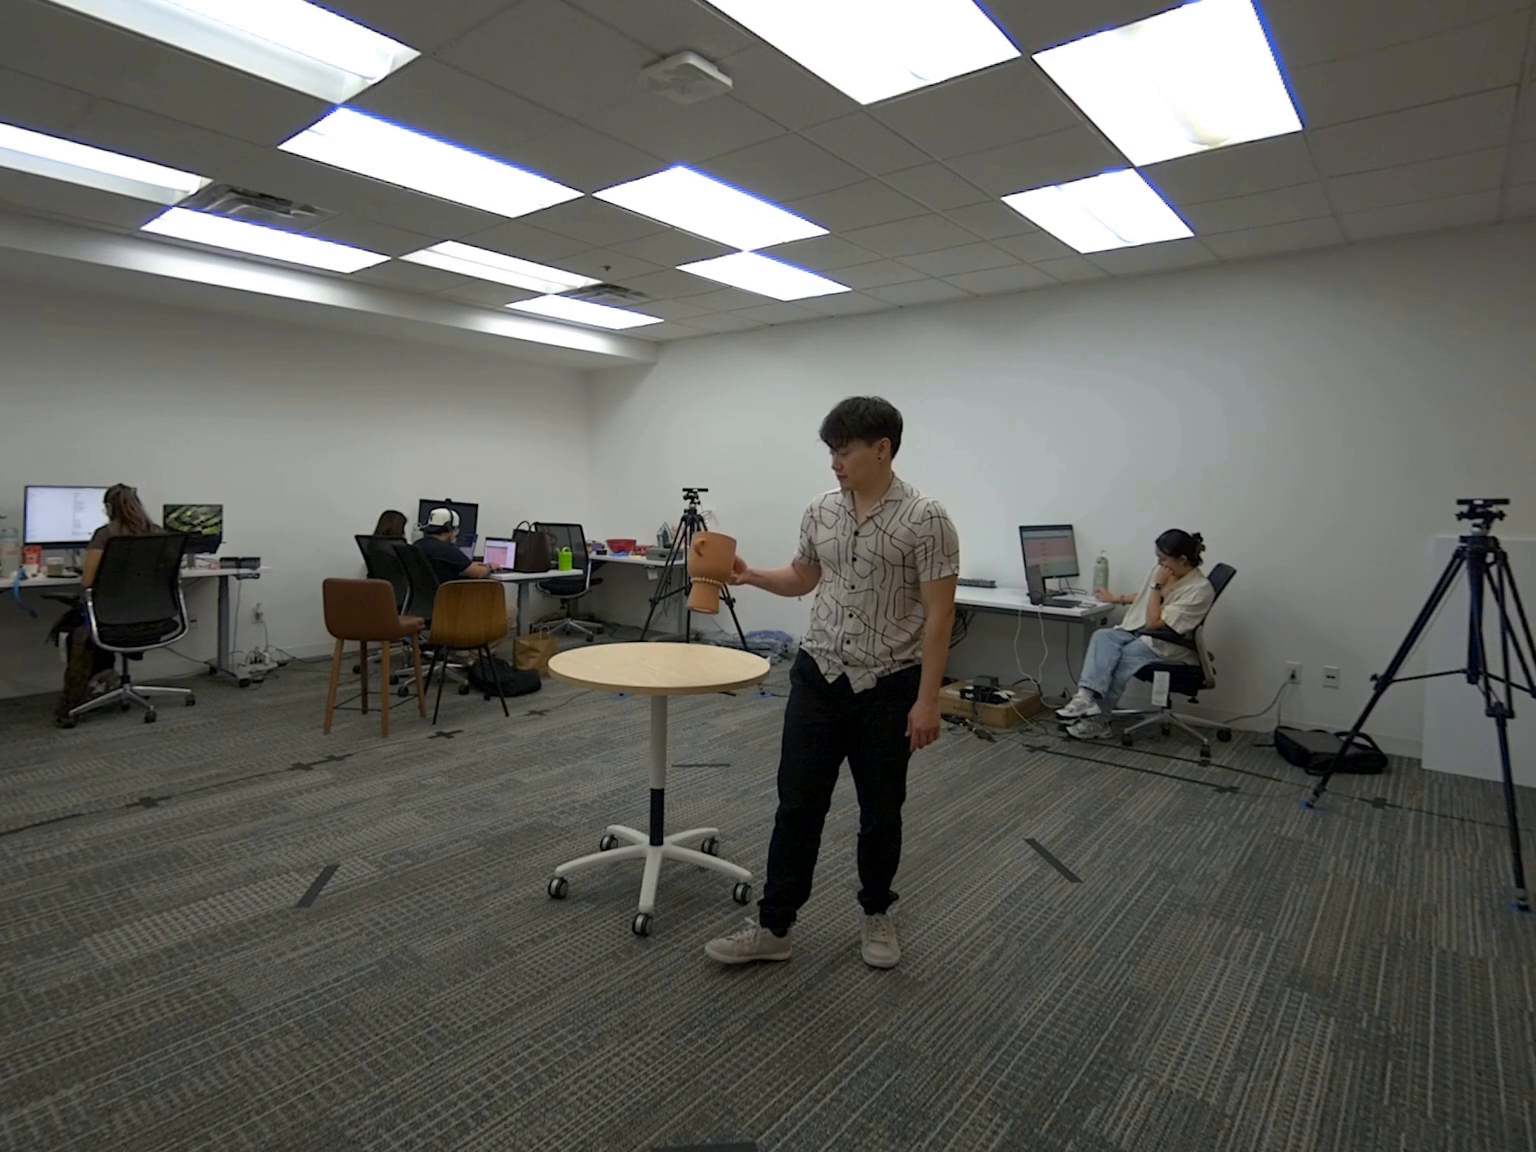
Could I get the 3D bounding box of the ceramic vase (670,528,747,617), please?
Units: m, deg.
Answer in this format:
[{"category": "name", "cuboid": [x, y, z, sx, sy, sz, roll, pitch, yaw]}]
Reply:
[{"category": "ceramic vase", "cuboid": [-0.178, -0.008, 2.475, 0.155, 0.222, 0.137, 12, -14, -24]}]
